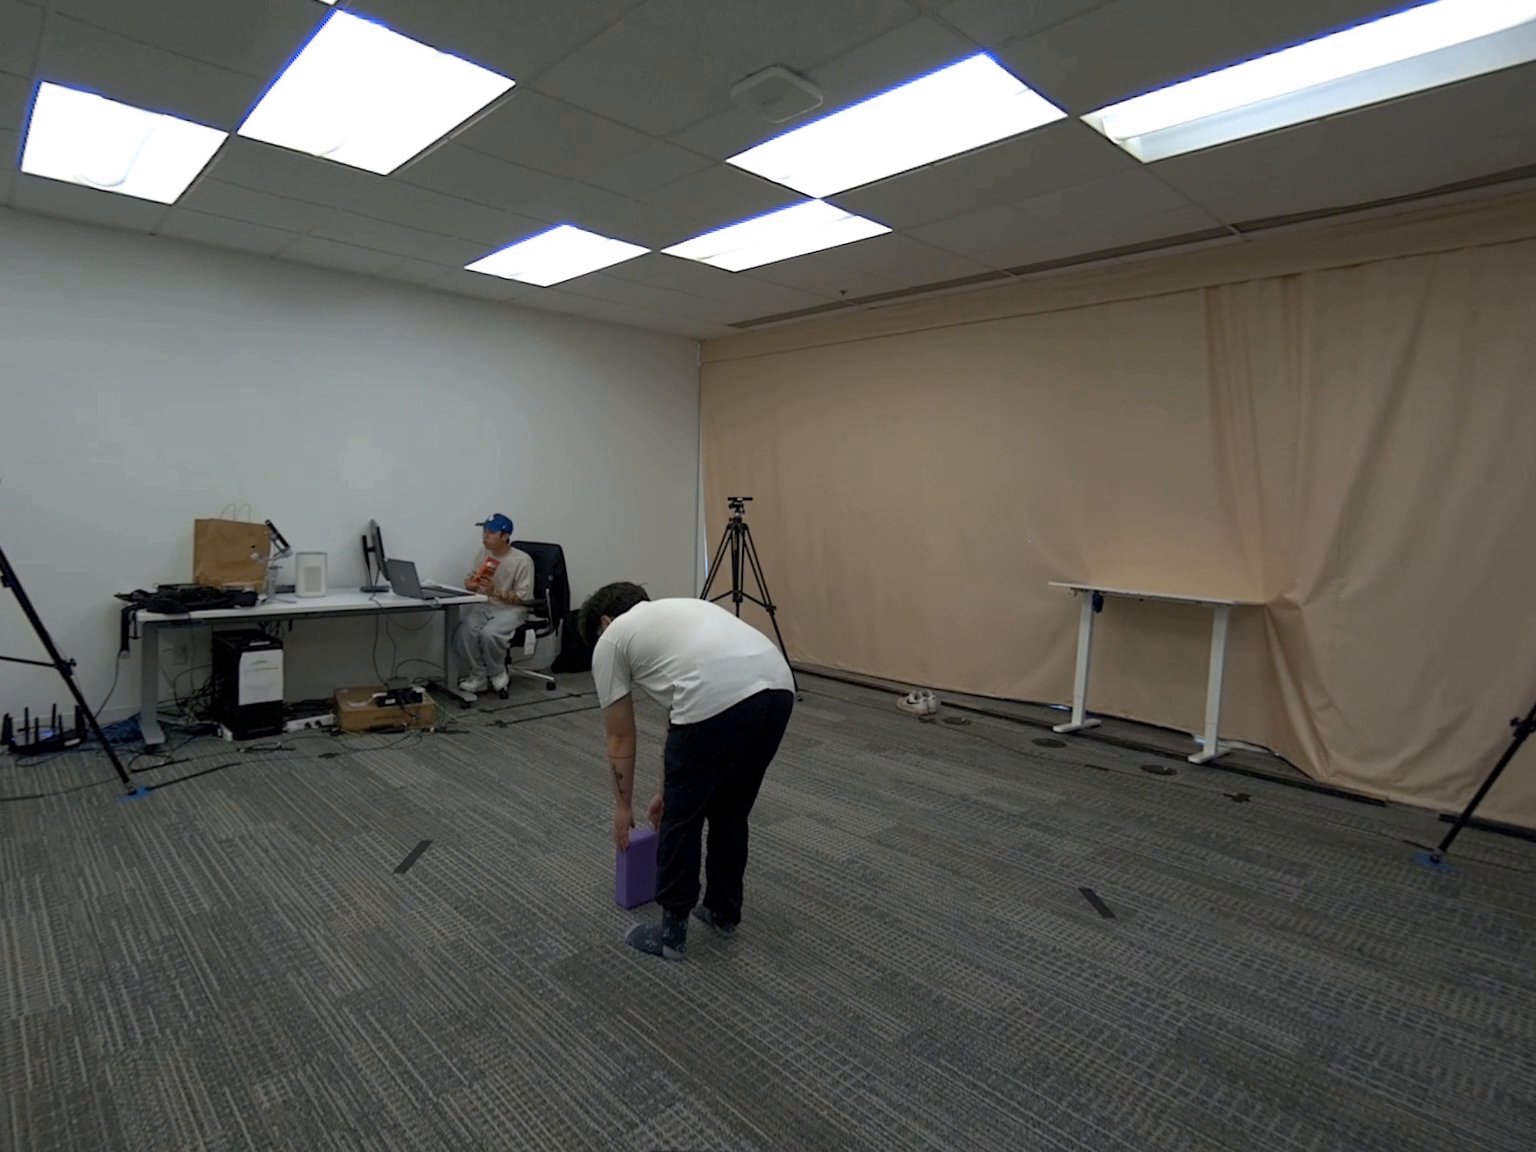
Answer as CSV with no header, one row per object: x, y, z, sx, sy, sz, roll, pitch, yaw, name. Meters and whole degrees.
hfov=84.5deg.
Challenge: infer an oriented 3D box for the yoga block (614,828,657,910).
-0.453,1.011,2.888,0.146,0.228,0.078,-5,9,-45,yoga block
